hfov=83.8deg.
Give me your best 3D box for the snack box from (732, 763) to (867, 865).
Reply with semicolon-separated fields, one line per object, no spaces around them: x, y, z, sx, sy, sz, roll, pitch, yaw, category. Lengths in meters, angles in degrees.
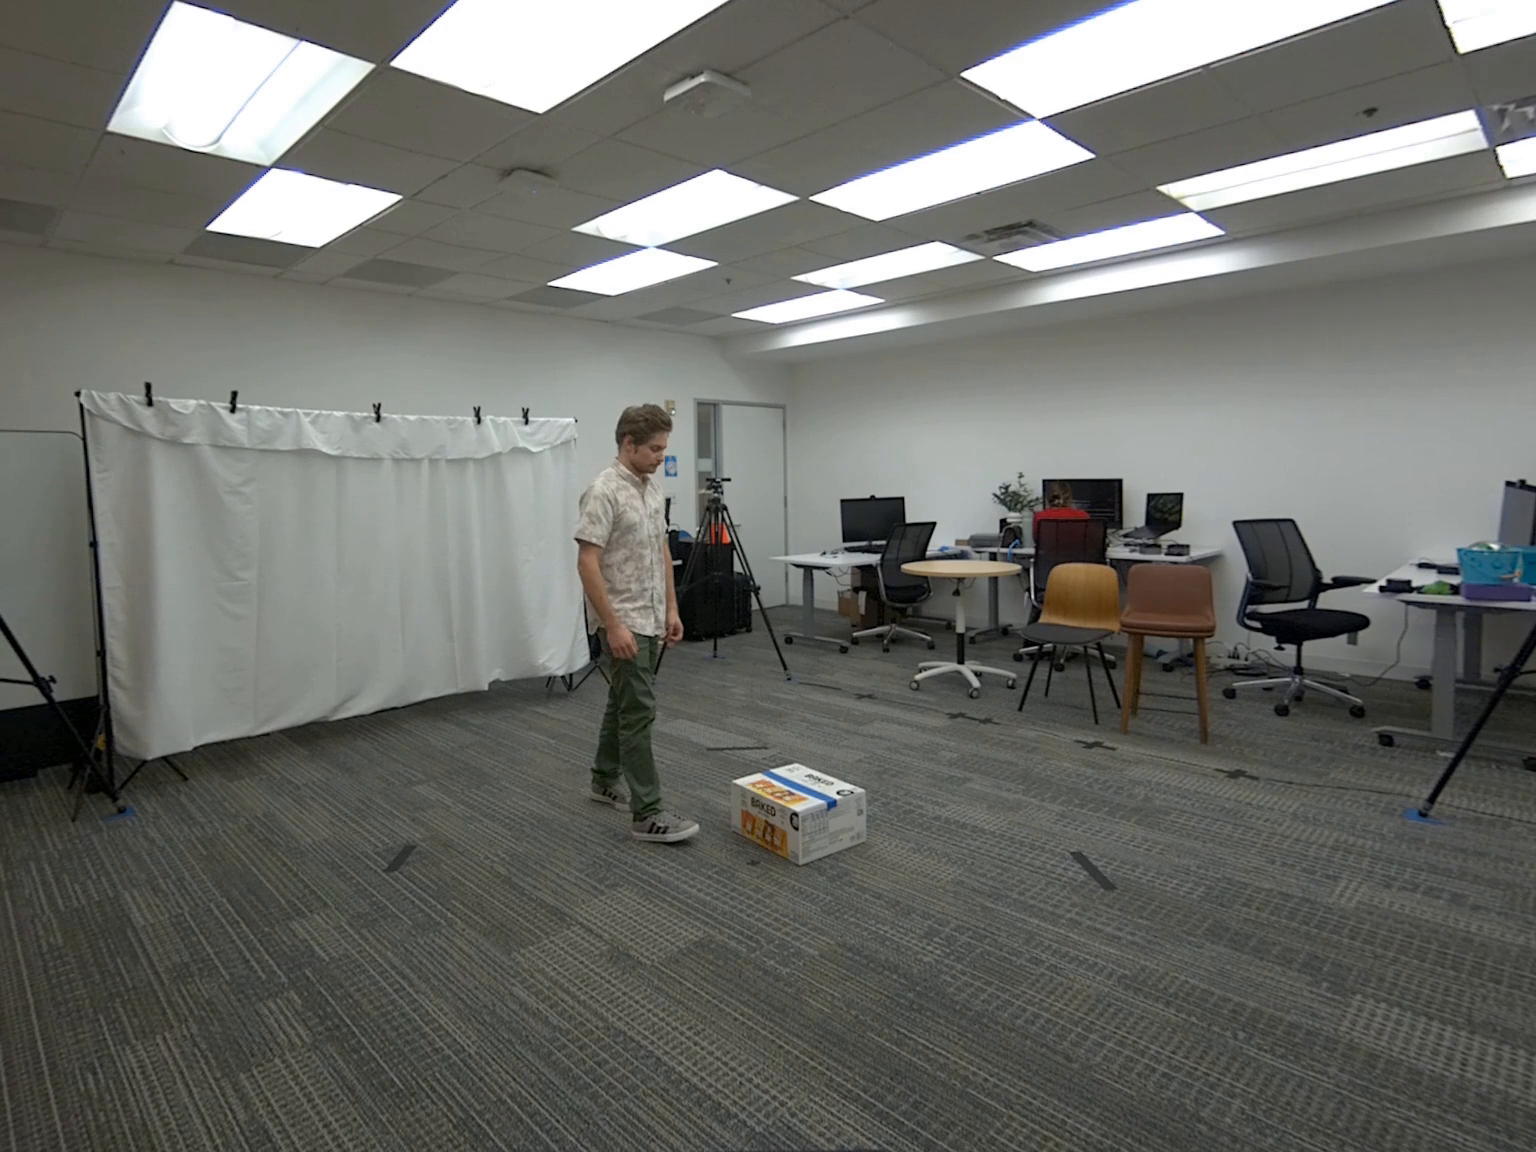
0.118;0.915;3.319;0.332;0.205;0.417;-6;8;-37;snack box
